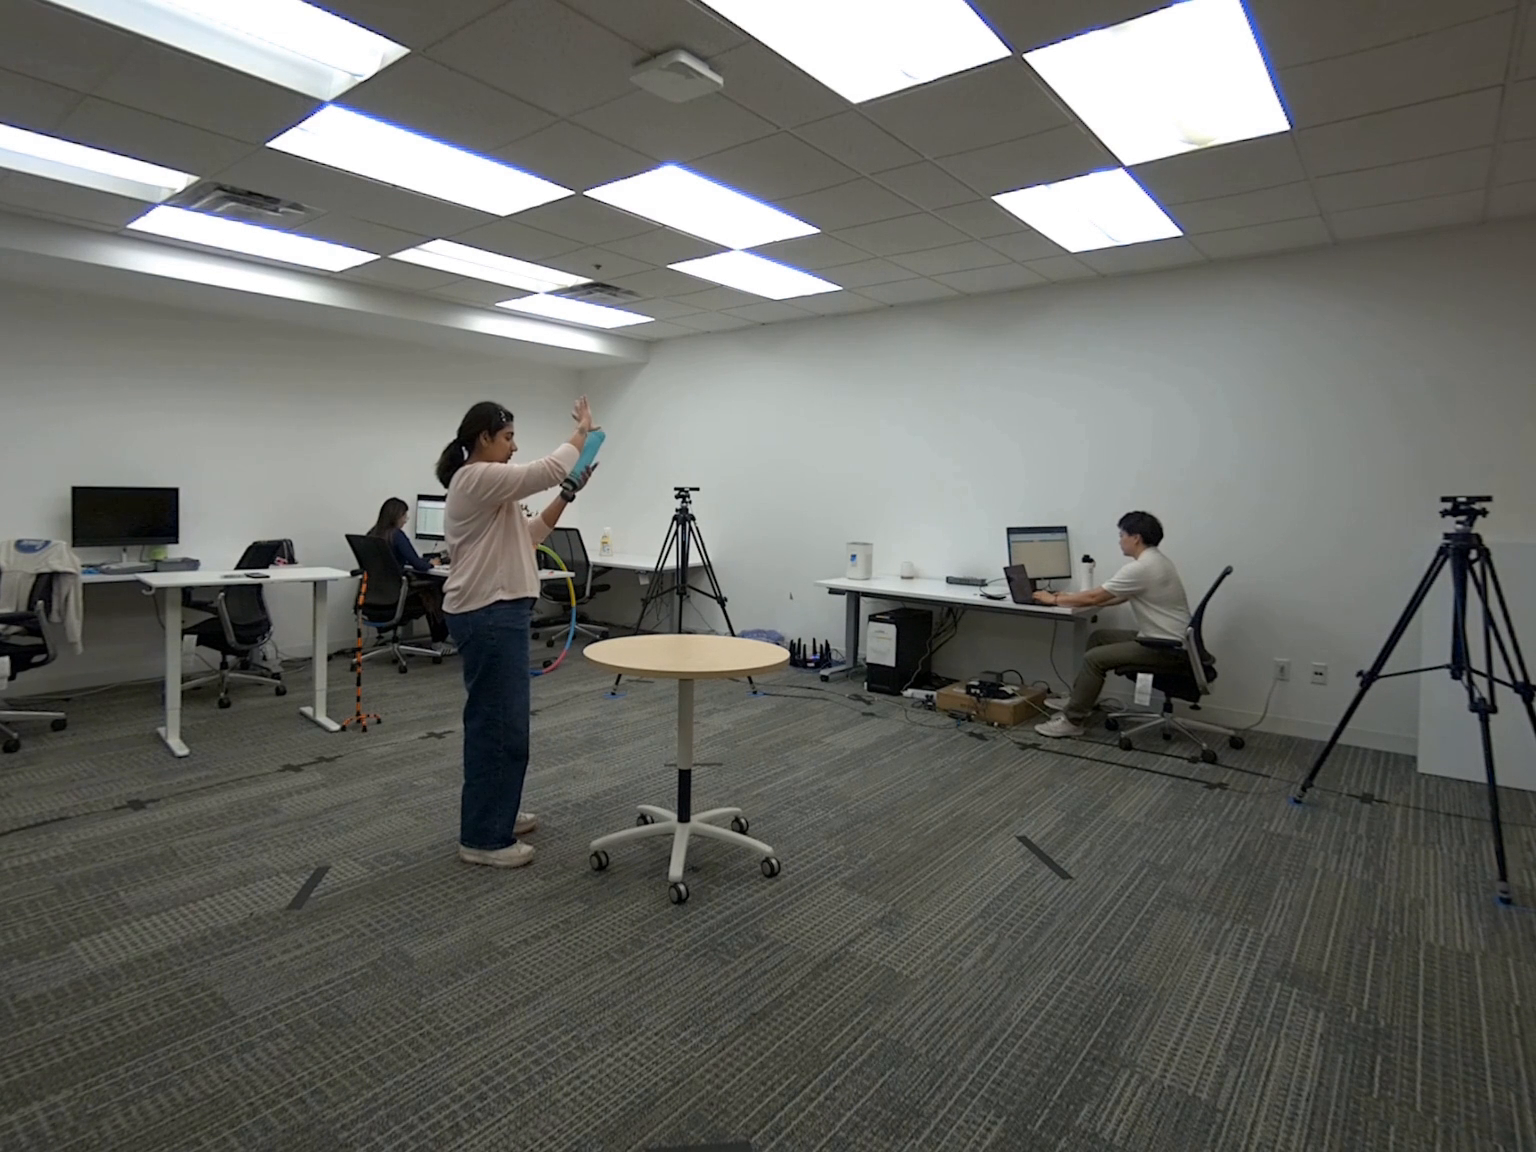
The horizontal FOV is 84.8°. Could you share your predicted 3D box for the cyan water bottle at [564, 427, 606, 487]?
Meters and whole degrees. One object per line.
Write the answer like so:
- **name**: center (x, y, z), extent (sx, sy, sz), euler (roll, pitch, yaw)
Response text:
- **cyan water bottle**: center (-0.761, -0.459, 3.377), extent (0.093, 0.285, 0.091), euler (23, -13, 3)
